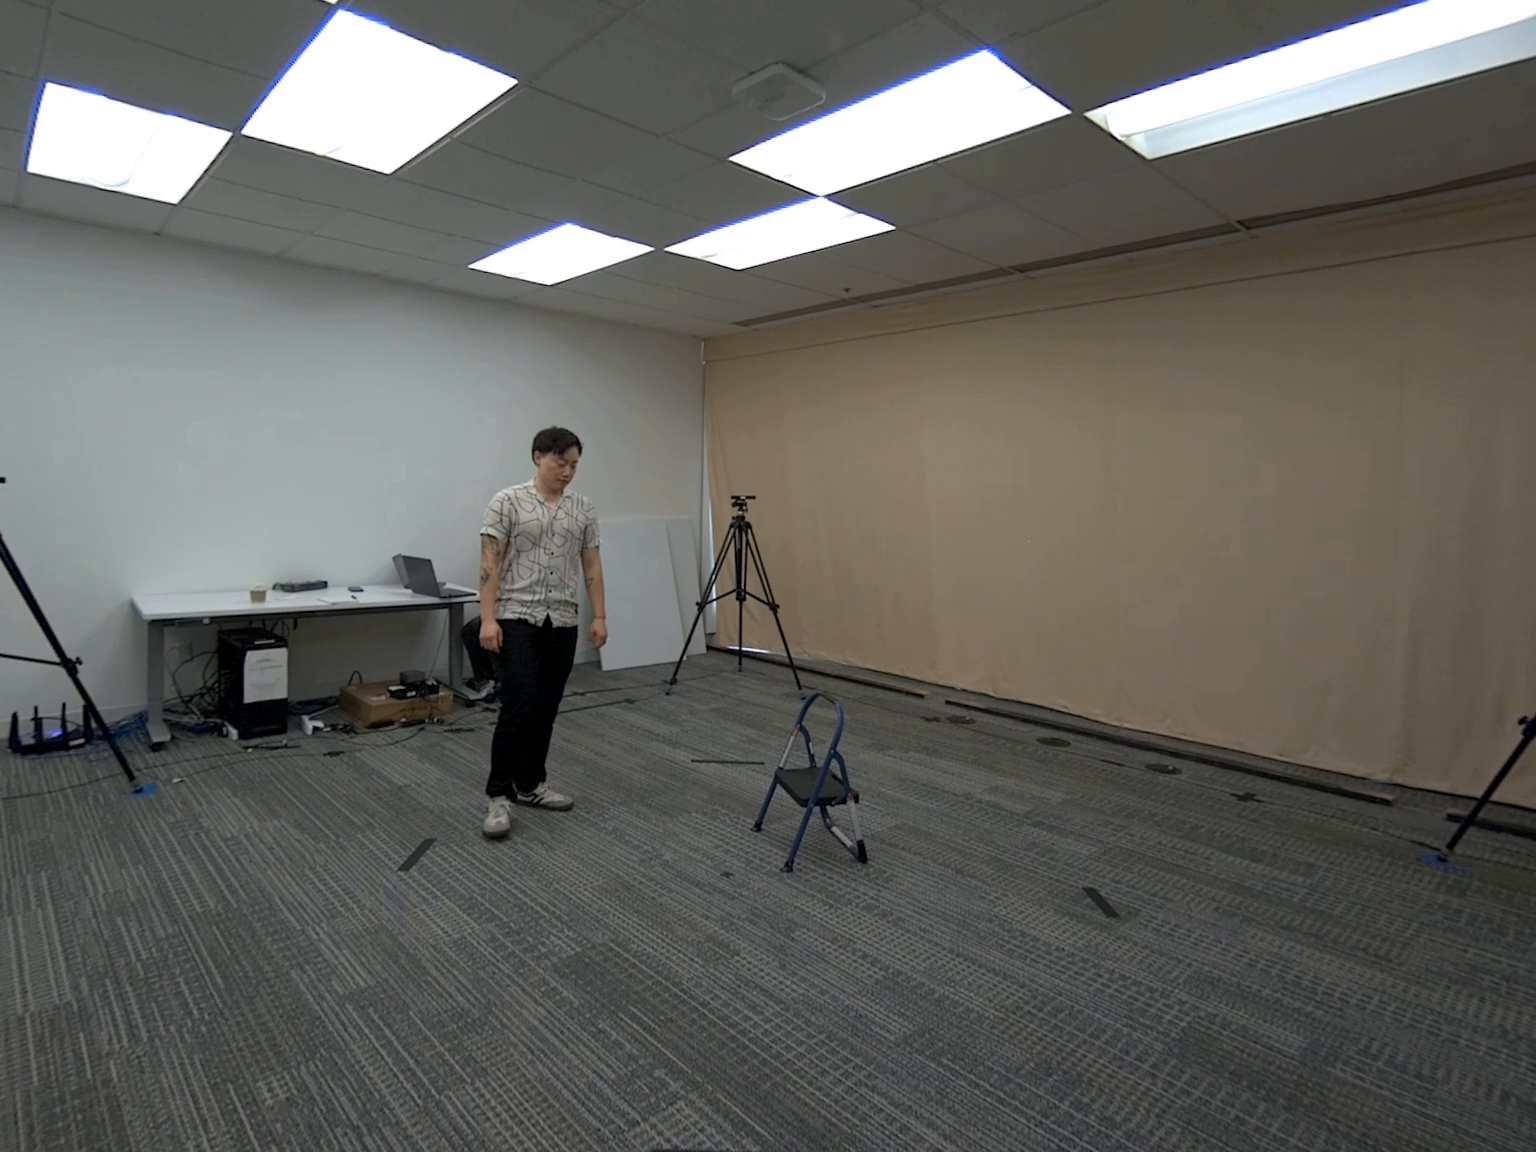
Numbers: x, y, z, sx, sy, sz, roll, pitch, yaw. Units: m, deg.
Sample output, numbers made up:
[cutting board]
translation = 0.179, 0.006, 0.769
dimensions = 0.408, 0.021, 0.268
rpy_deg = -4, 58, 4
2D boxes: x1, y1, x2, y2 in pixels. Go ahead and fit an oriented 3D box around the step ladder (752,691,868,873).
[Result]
[step ladder]
translation = 0.162, 0.783, 3.360
dimensions = 0.344, 0.604, 0.437
rpy_deg = 1, 4, -18
